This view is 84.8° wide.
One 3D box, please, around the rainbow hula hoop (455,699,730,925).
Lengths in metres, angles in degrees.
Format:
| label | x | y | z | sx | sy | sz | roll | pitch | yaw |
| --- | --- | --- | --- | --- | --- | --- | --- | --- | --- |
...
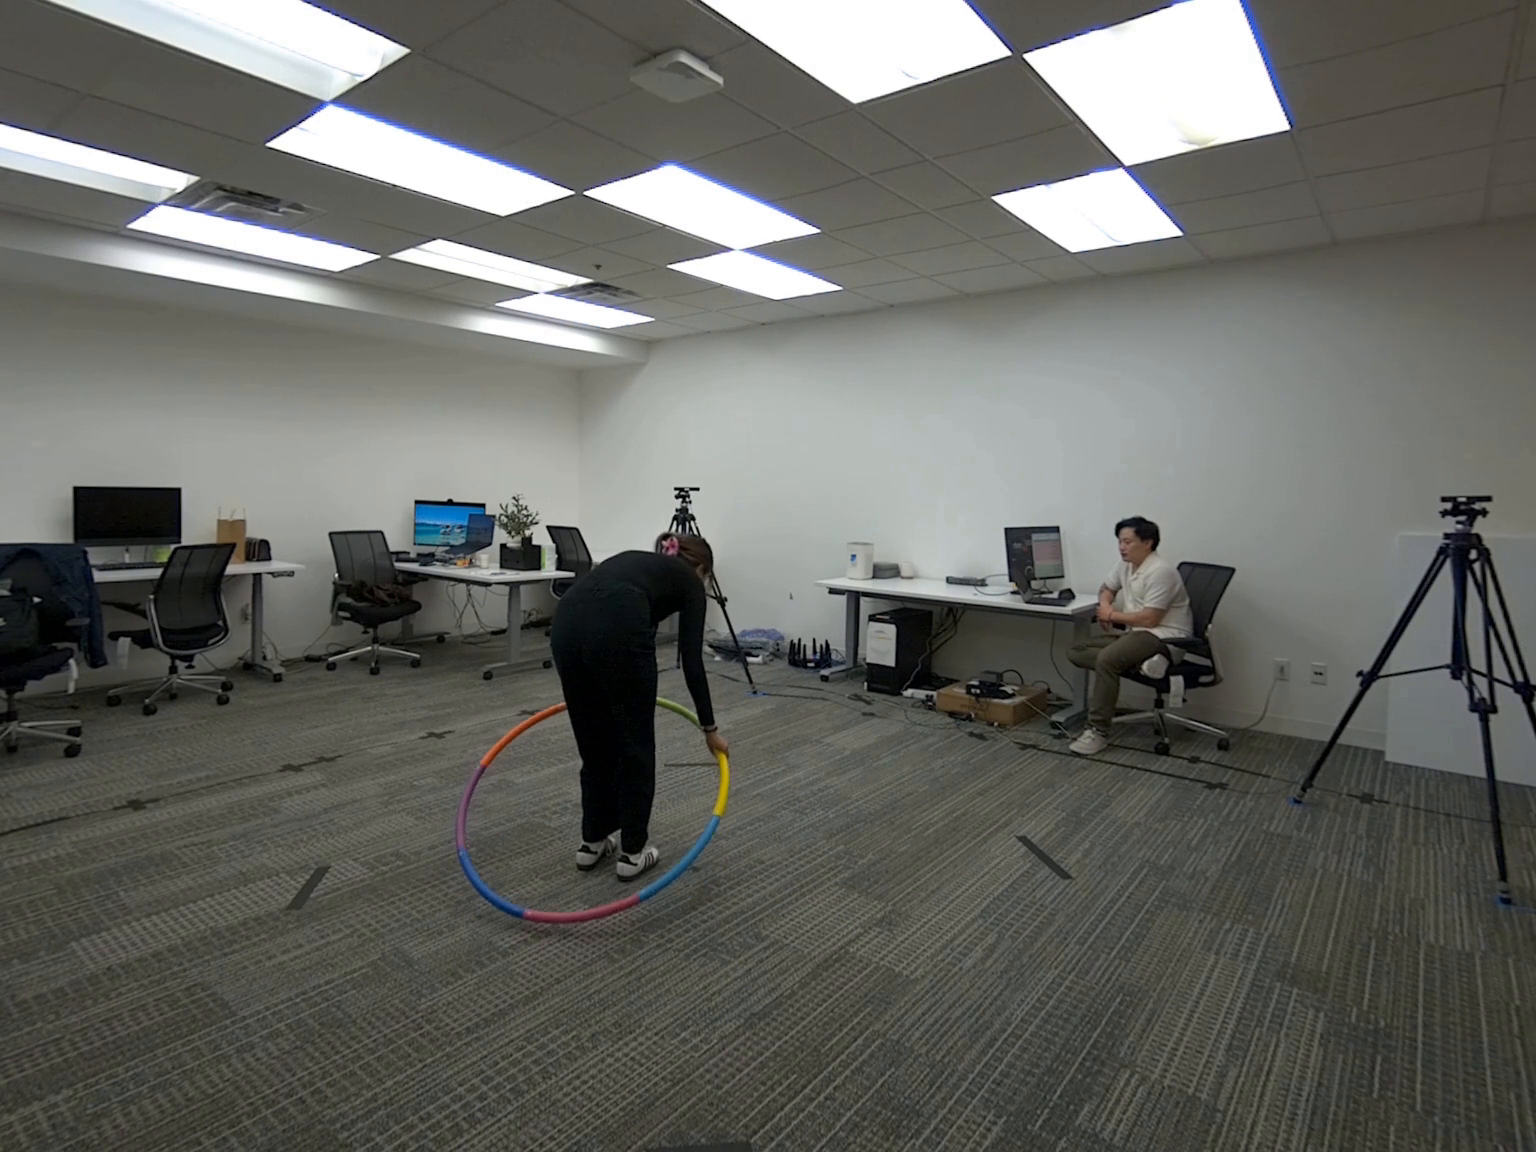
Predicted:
| label | x | y | z | sx | sy | sz | roll | pitch | yaw |
| --- | --- | --- | --- | --- | --- | --- | --- | --- | --- |
| rainbow hula hoop | -0.631 | 0.764 | 3.031 | 0.982 | 0.034 | 1.006 | -7 | 35 | 3 |
